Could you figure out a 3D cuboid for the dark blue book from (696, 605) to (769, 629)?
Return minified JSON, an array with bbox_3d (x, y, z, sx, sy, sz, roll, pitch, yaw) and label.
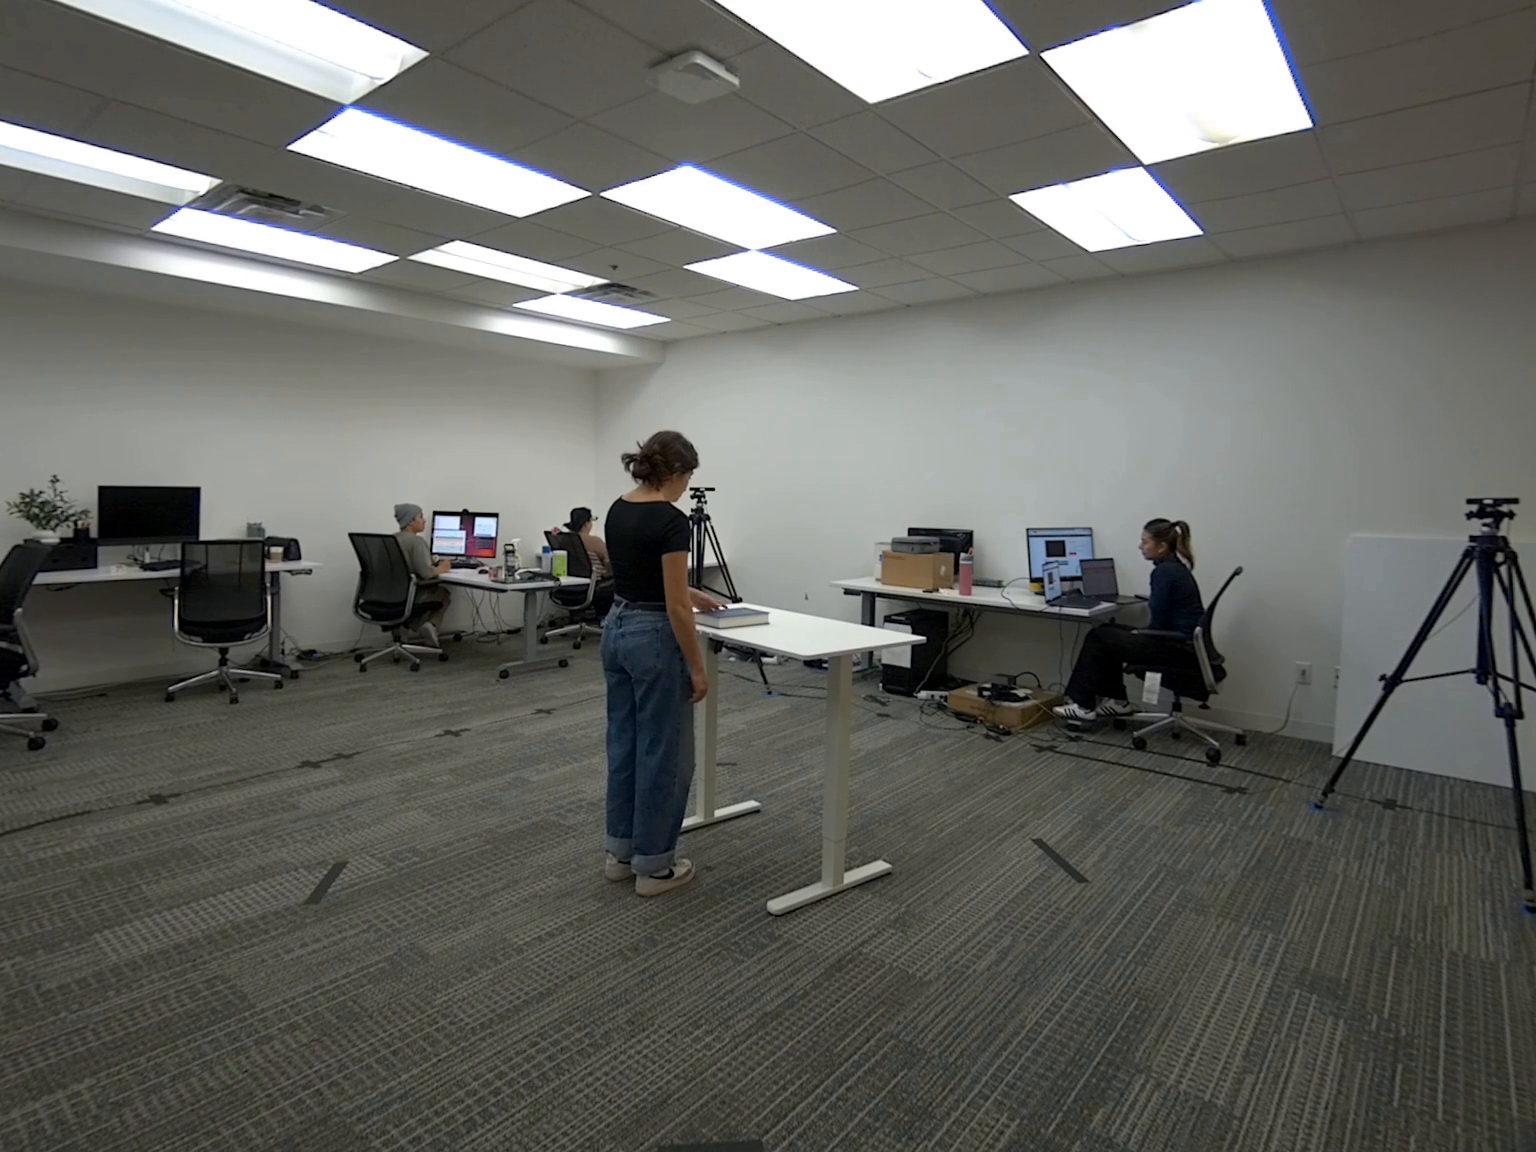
[{"bbox_3d":[-0.145,0.157,3.187,0.238,0.045,0.169,-3,7,-40],"label":"dark blue book"}]
